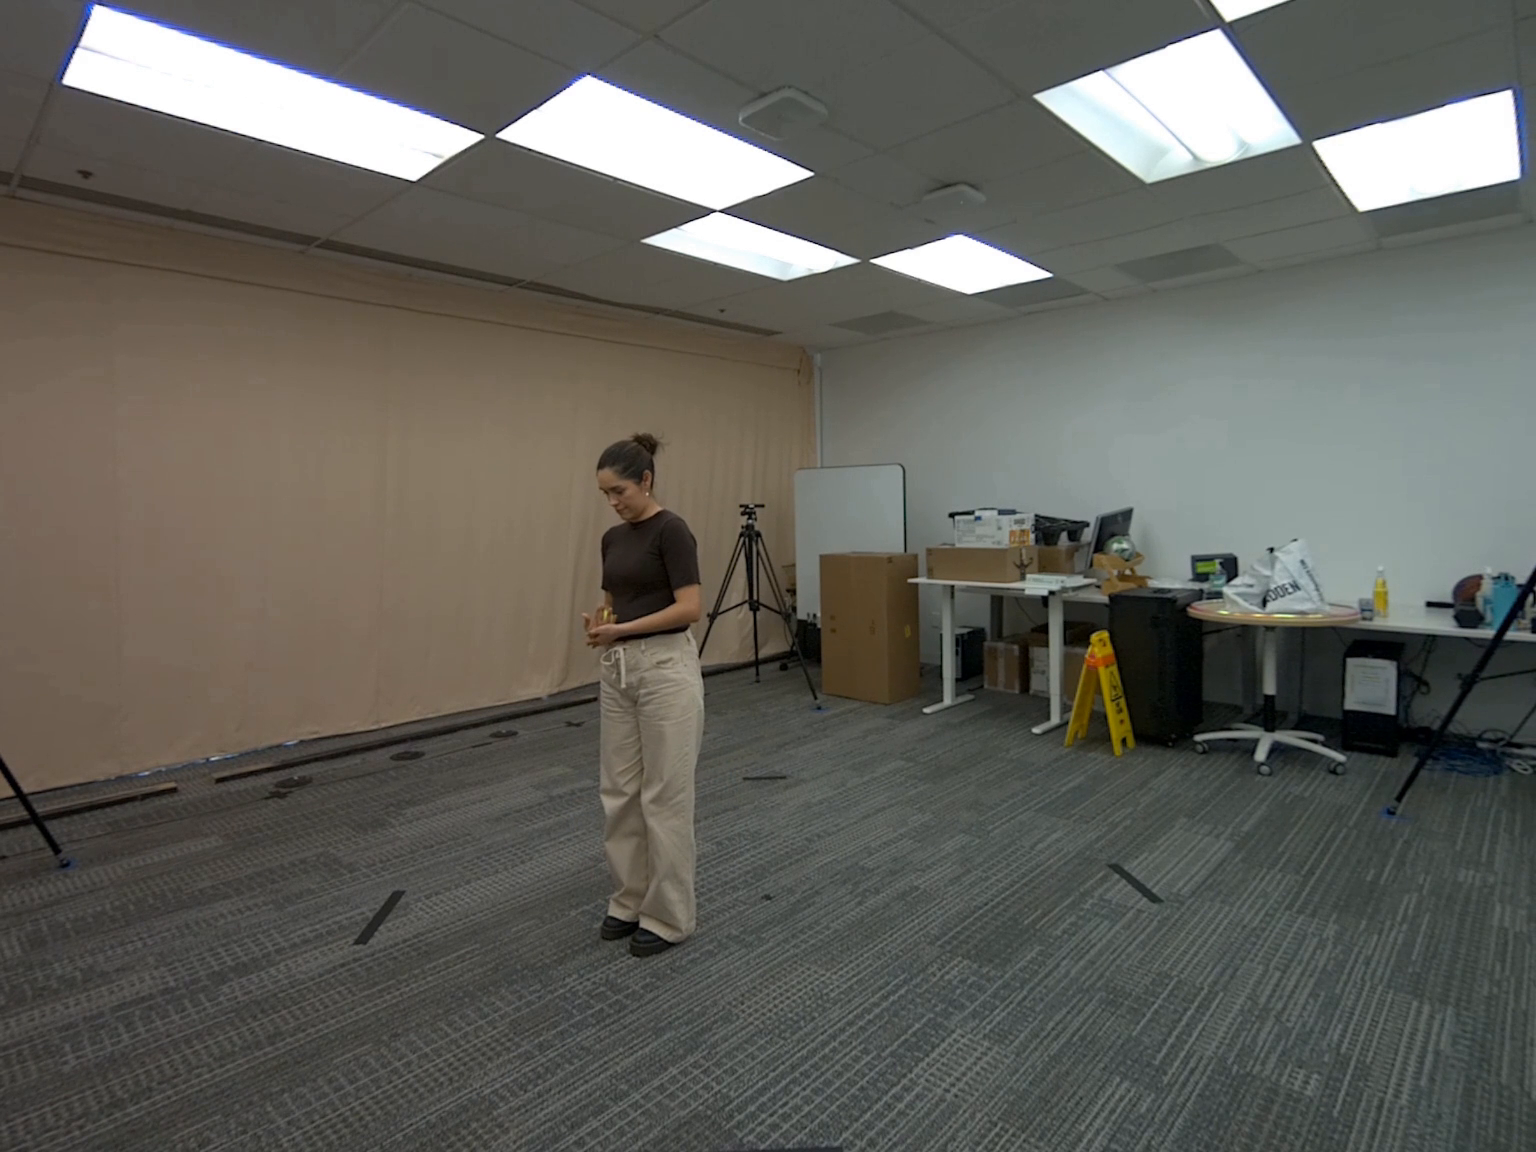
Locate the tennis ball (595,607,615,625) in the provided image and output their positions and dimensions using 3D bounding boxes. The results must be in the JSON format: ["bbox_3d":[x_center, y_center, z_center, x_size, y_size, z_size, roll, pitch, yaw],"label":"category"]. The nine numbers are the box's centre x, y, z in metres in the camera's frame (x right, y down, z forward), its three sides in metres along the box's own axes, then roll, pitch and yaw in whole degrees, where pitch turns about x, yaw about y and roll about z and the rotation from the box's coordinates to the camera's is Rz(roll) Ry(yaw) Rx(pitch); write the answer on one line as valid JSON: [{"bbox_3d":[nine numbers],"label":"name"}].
[{"bbox_3d":[-0.509,0.135,2.711,0.066,0.066,0.067,-1,4,-2],"label":"tennis ball"}]
